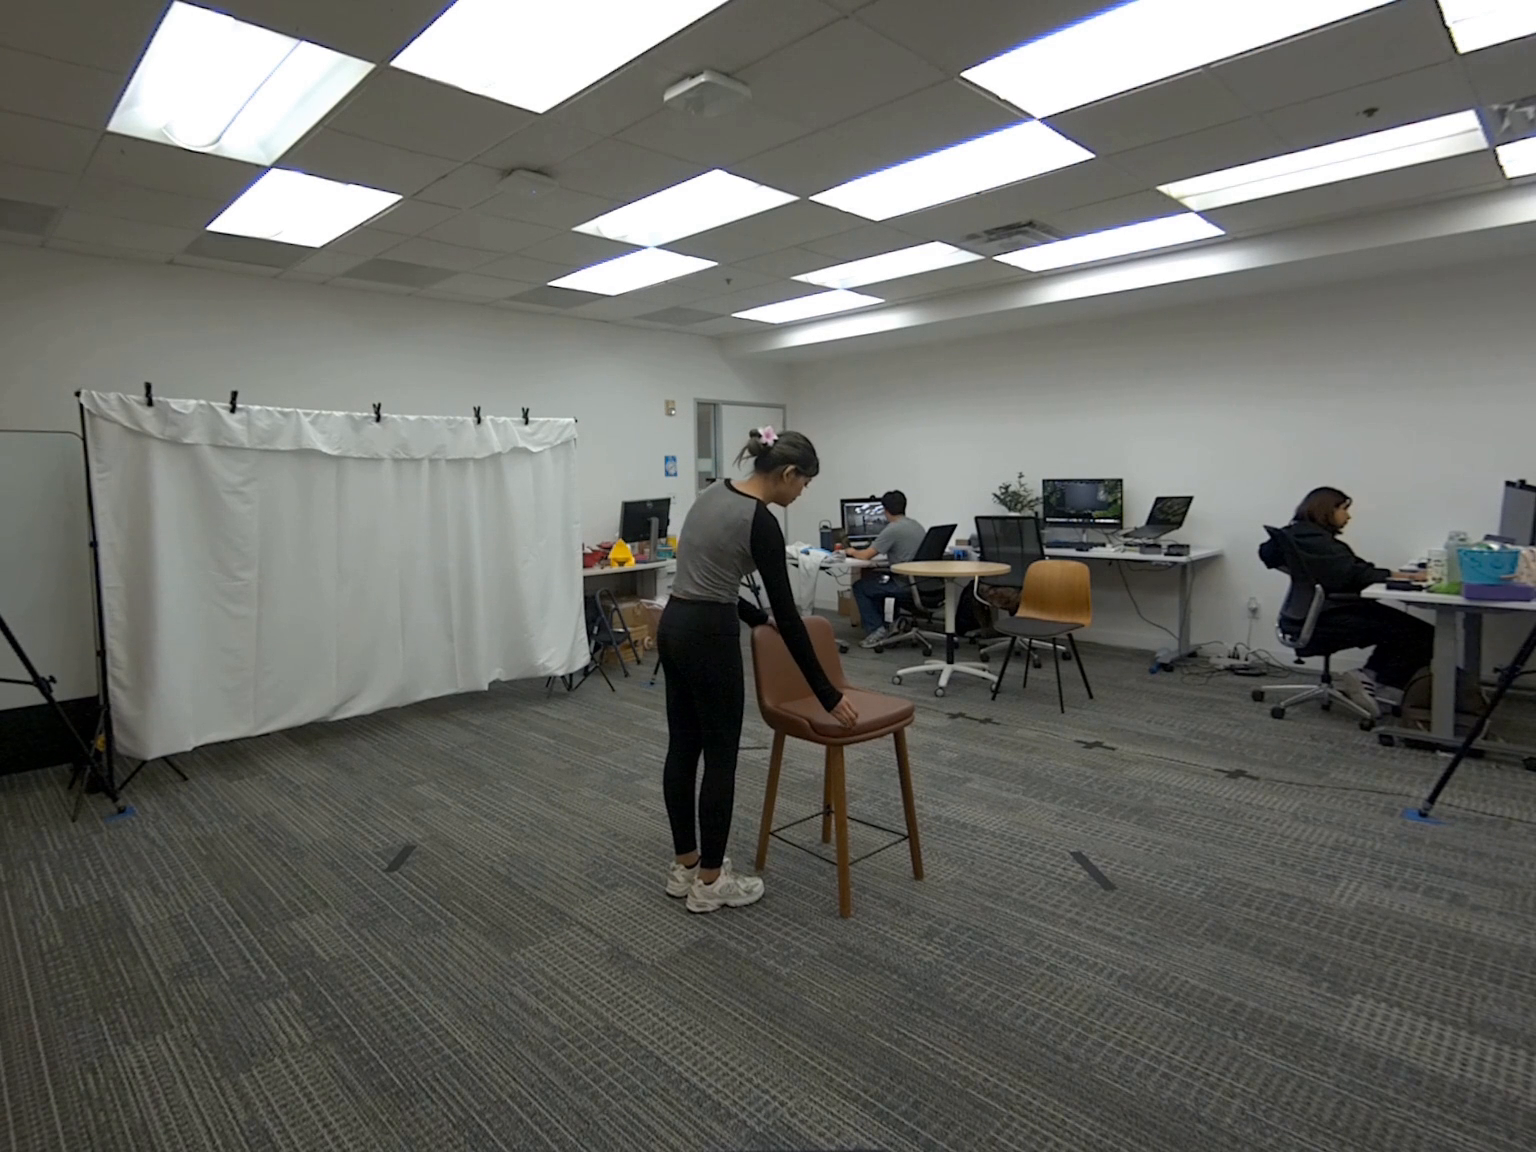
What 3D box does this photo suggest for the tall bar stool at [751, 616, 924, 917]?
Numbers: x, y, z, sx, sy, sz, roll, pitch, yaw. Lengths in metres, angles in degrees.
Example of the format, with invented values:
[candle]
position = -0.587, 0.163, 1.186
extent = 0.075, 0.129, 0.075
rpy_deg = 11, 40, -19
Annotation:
[tall bar stool]
position = 0.236, 0.613, 2.986
extent = 0.444, 0.888, 0.481
rpy_deg = -4, 3, -42
